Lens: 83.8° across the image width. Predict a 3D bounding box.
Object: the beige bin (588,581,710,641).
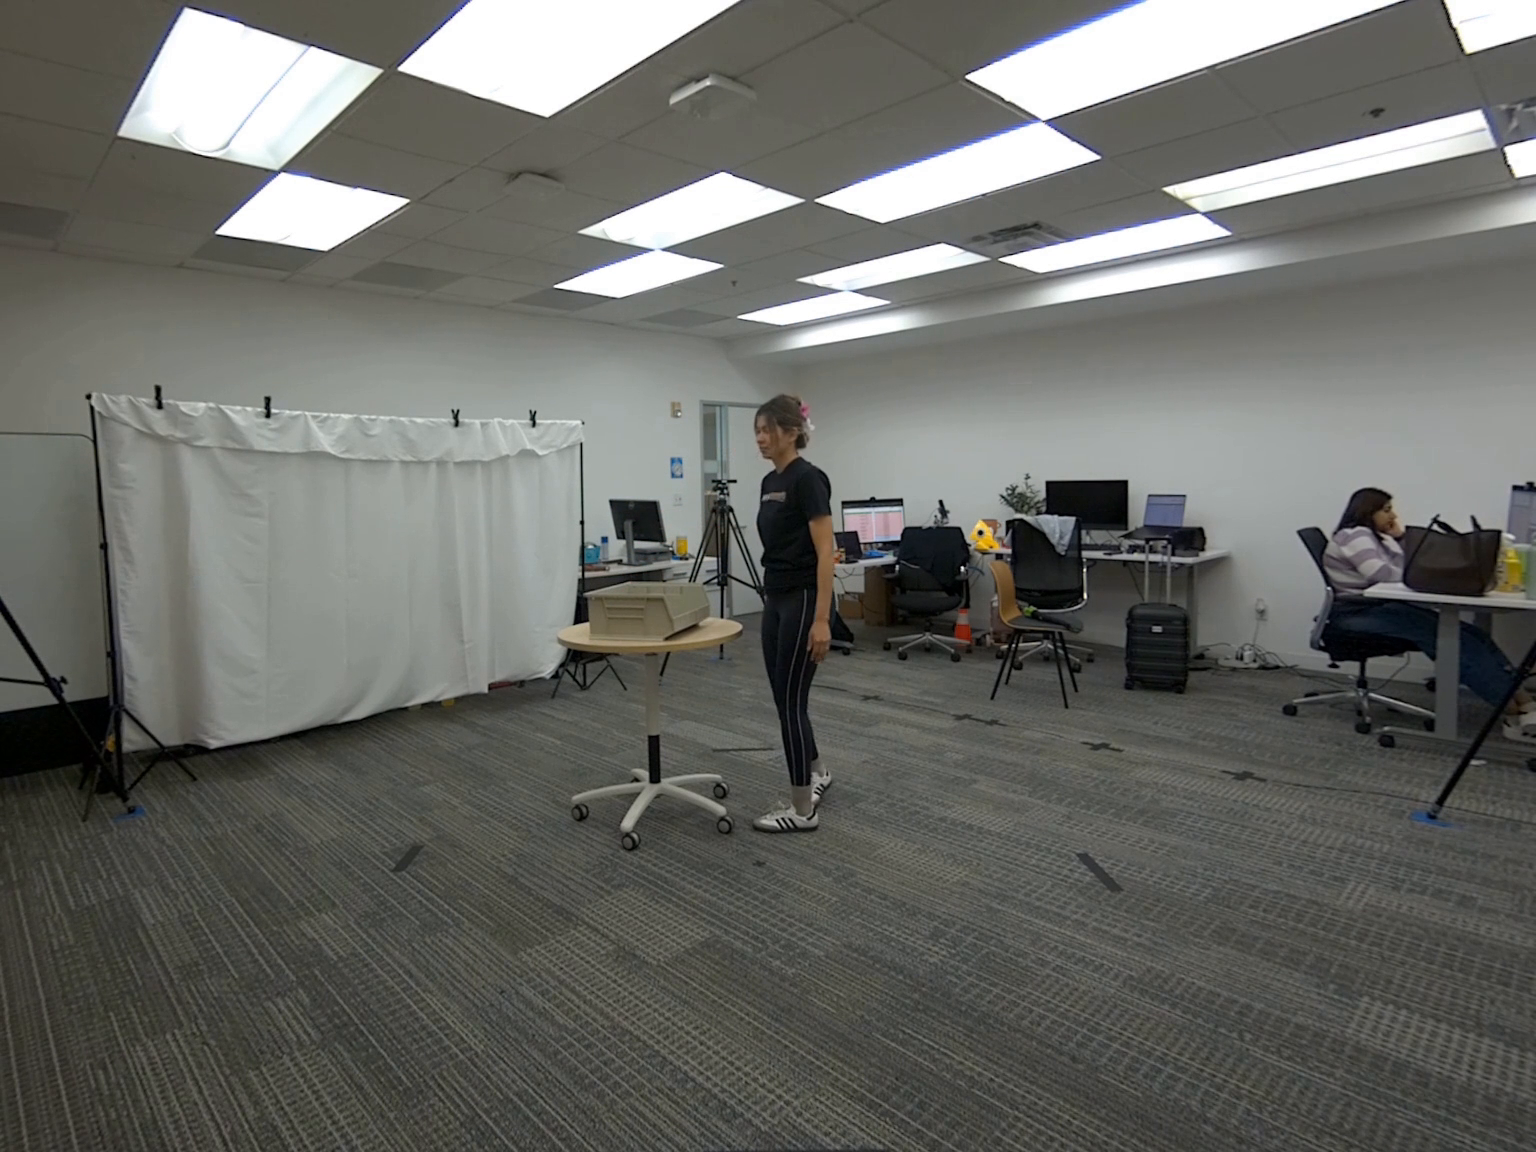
[{"bbox_3d":[-0.476,0.139,3.477,0.383,0.188,0.417,-1,6,17],"label":"beige bin"}]
